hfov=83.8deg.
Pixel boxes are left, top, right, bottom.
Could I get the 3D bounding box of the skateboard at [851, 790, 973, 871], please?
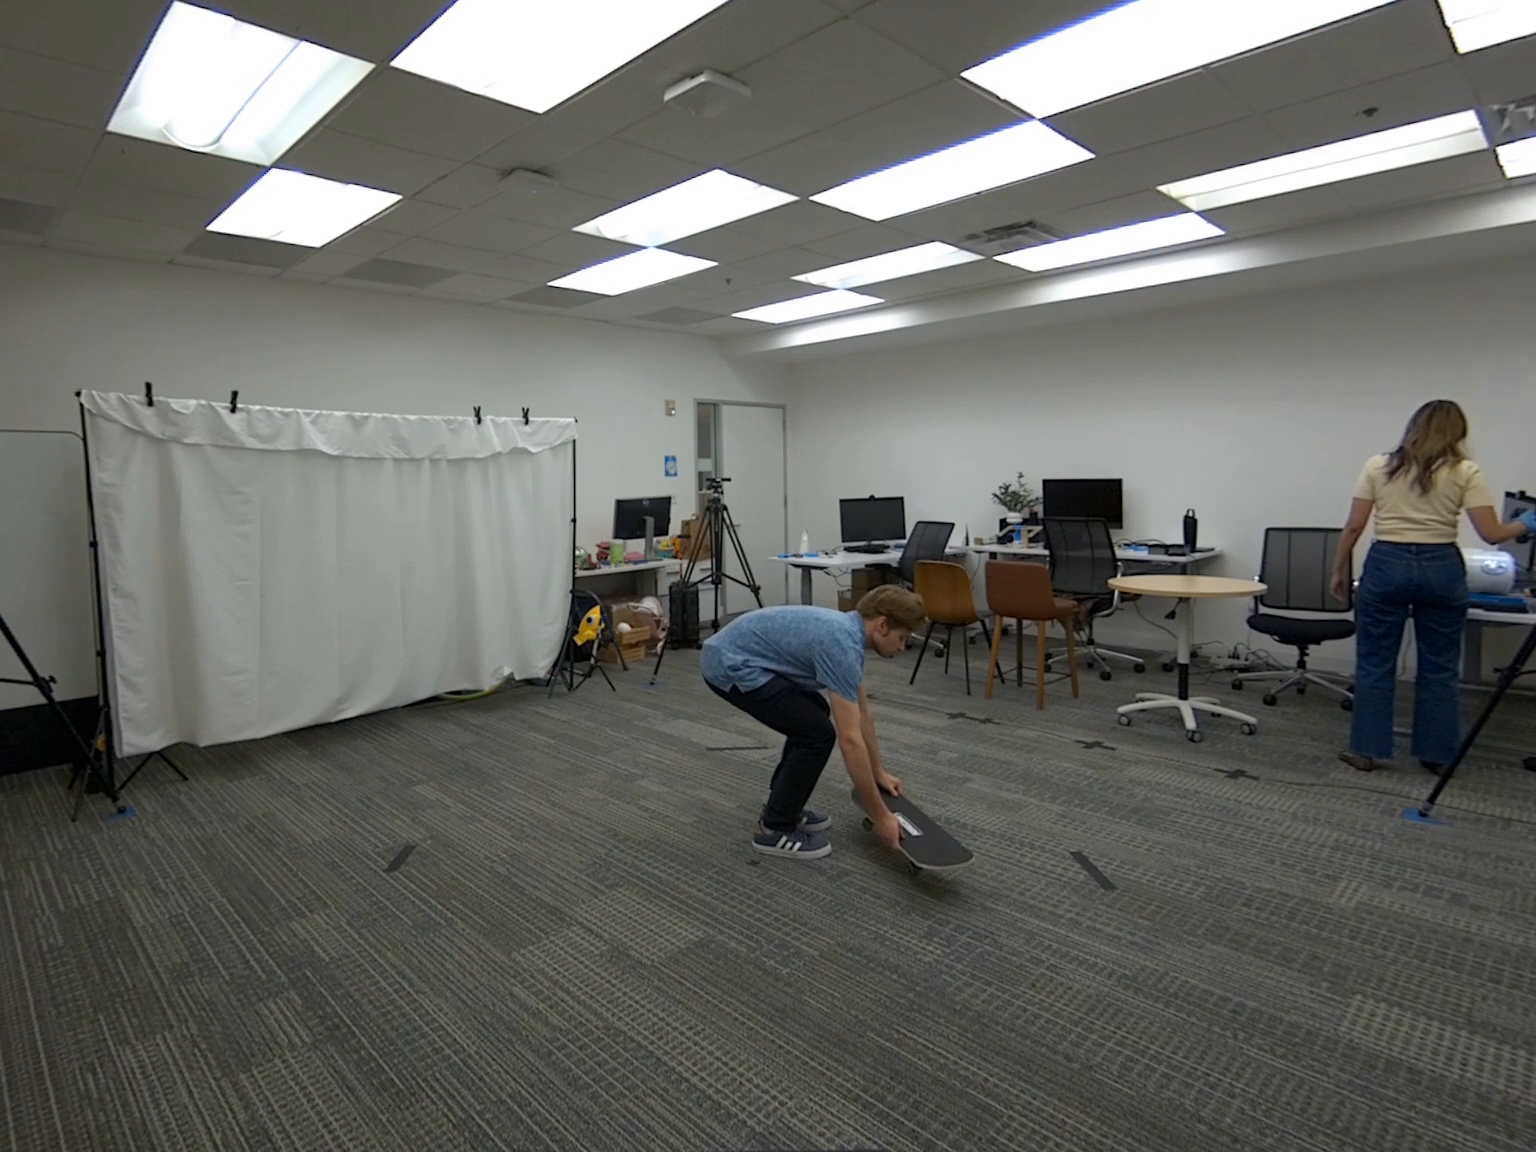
[{"bbox_3d":[0.510,0.929,3.101,0.191,0.110,0.798,-8,7,-13],"label":"skateboard"}]
